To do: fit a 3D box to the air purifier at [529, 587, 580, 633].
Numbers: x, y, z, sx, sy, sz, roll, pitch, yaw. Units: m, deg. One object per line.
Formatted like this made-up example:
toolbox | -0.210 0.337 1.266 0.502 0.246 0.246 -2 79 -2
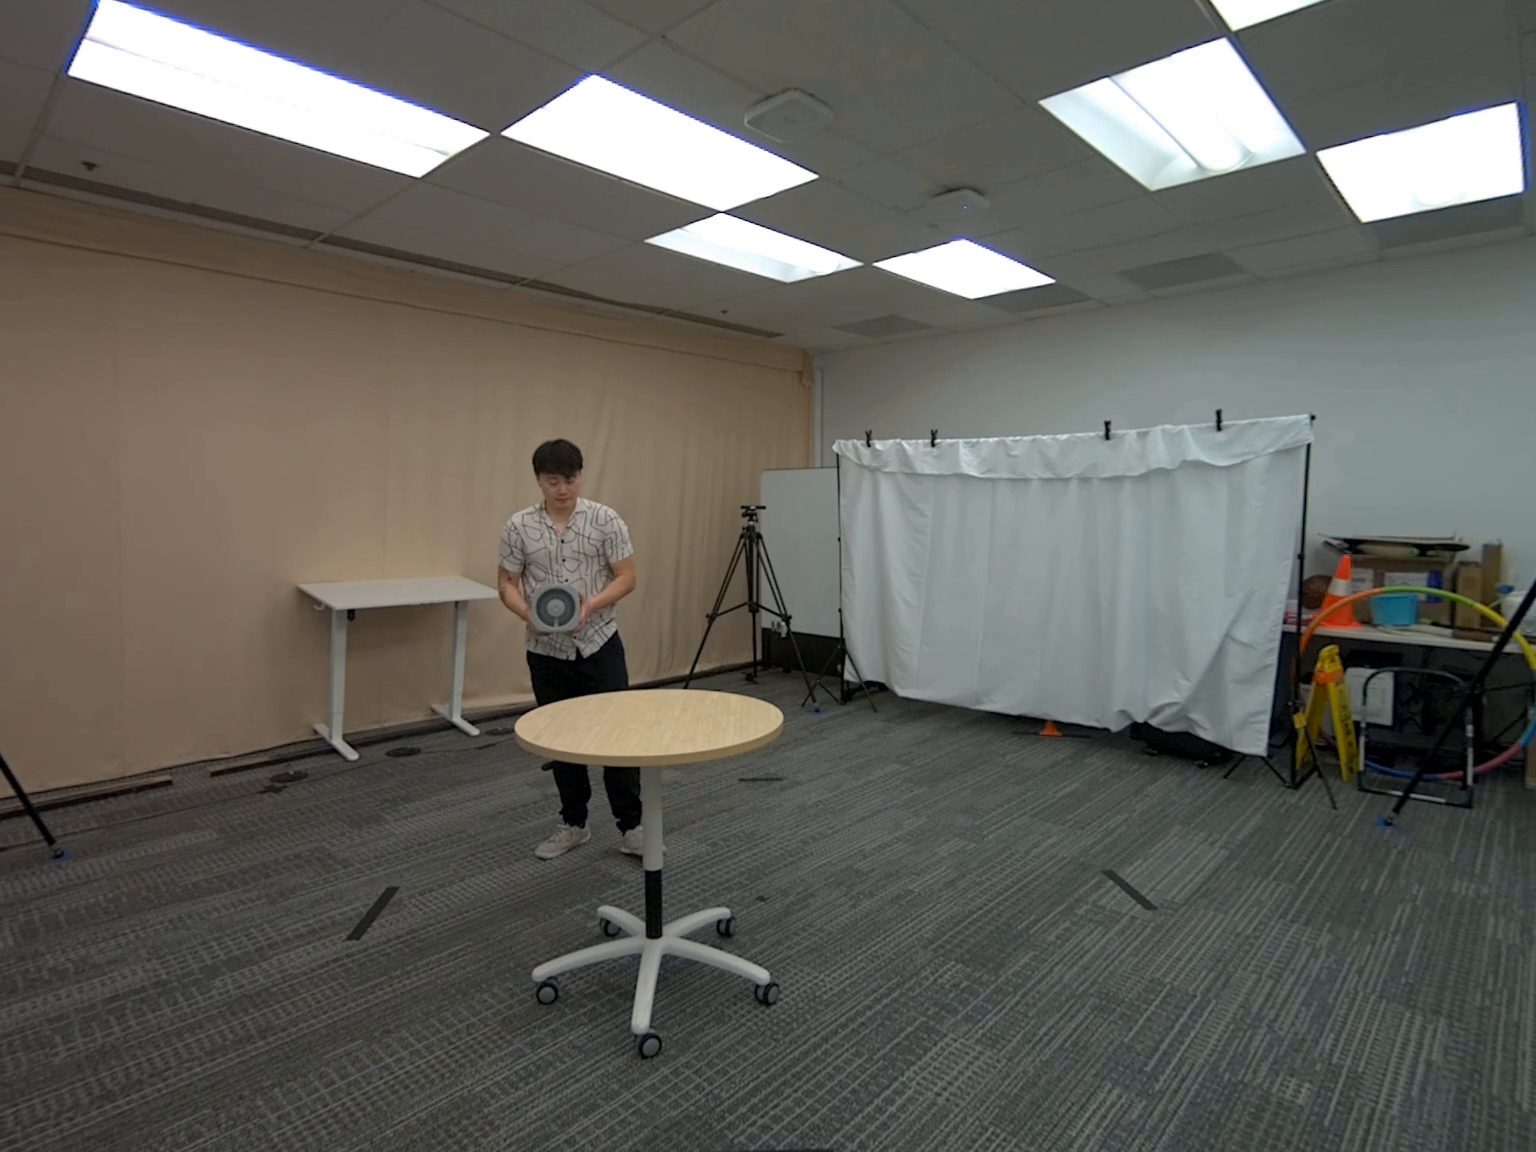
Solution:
air purifier | -0.779 0.119 3.137 0.170 0.172 0.266 -5 -5 -8
